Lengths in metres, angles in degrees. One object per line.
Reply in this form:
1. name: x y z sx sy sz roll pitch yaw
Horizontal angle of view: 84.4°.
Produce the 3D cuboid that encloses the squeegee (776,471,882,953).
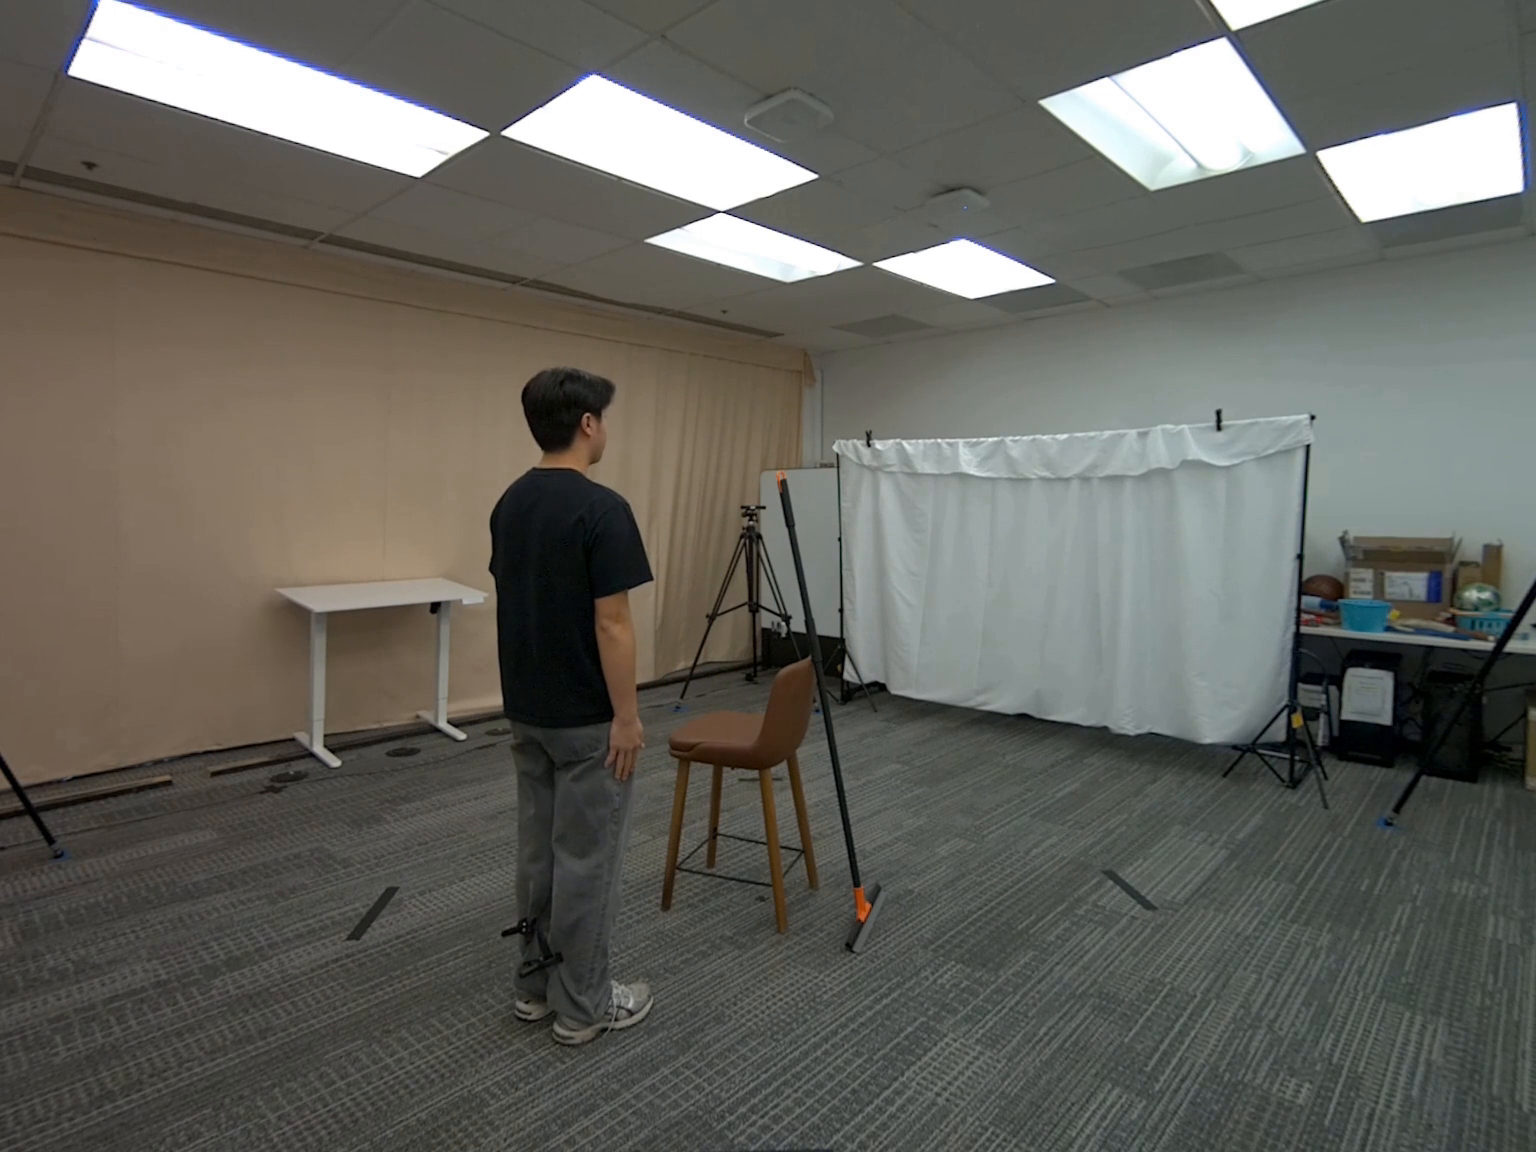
1. squeegee: 0.193 0.400 2.841 0.054 1.539 0.430 -10 -1 16
